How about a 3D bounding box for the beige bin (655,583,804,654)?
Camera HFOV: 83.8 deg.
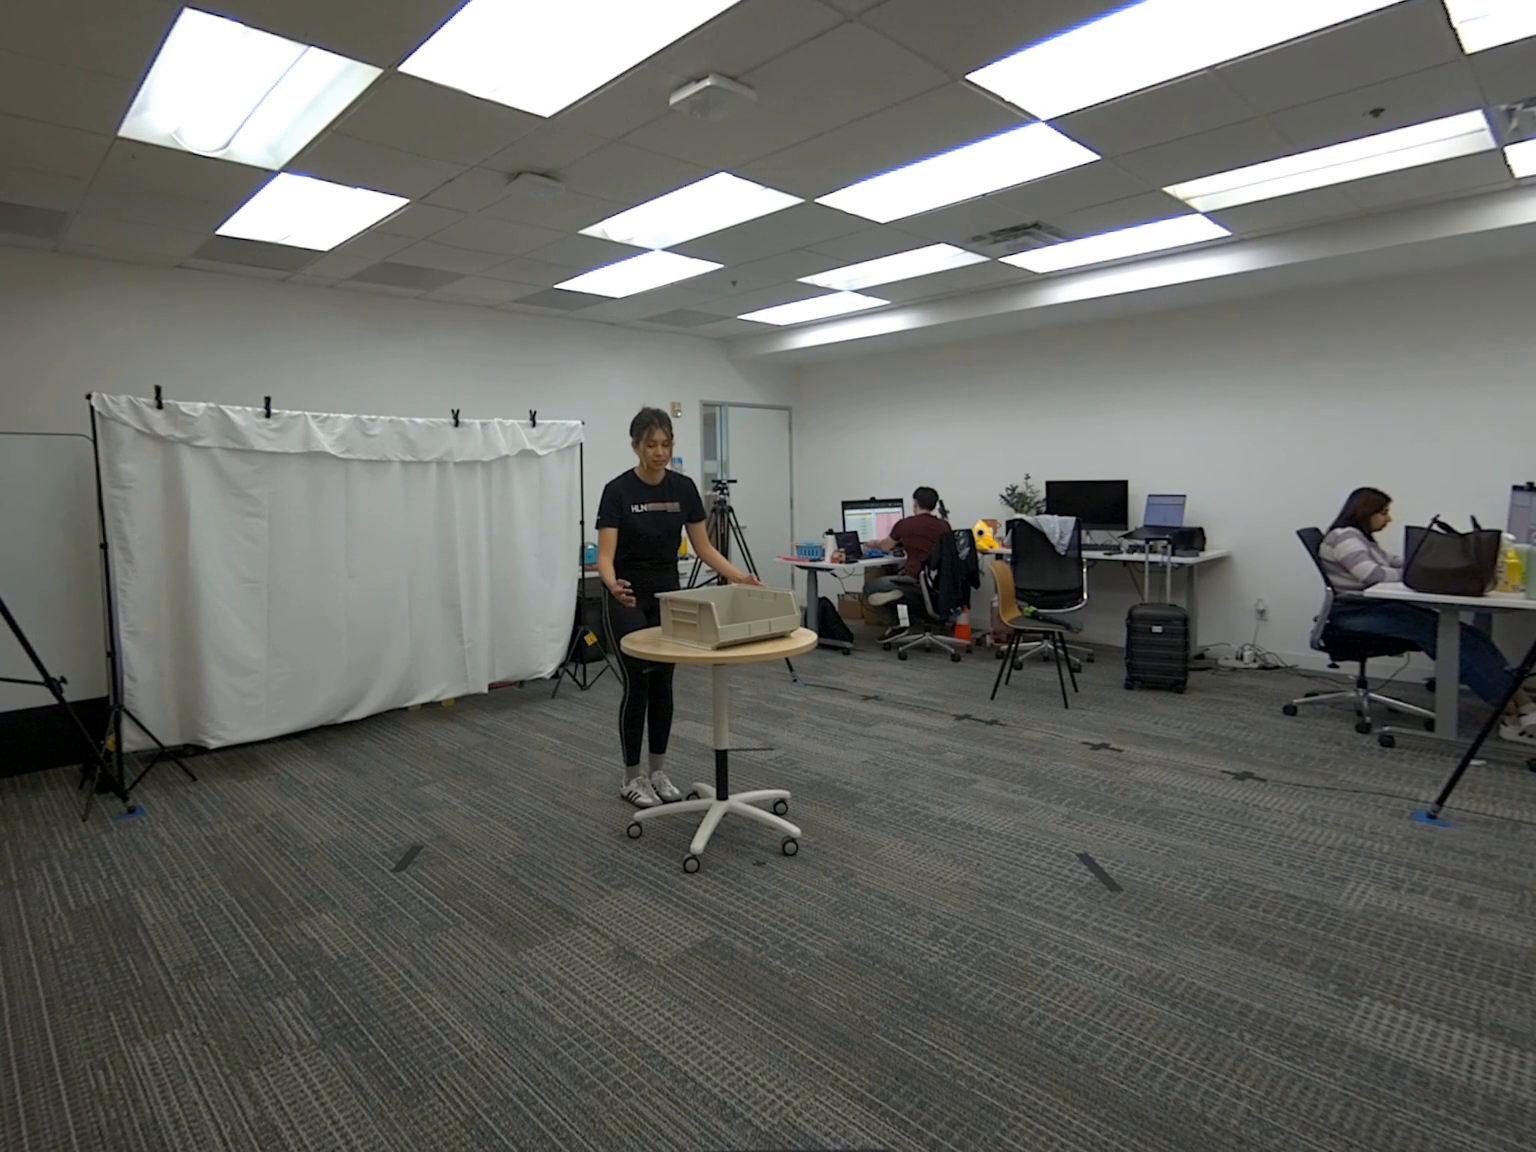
[{"bbox_3d":[-0.154,0.151,3.297,0.411,0.188,0.388,-6,6,-40],"label":"beige bin"}]
